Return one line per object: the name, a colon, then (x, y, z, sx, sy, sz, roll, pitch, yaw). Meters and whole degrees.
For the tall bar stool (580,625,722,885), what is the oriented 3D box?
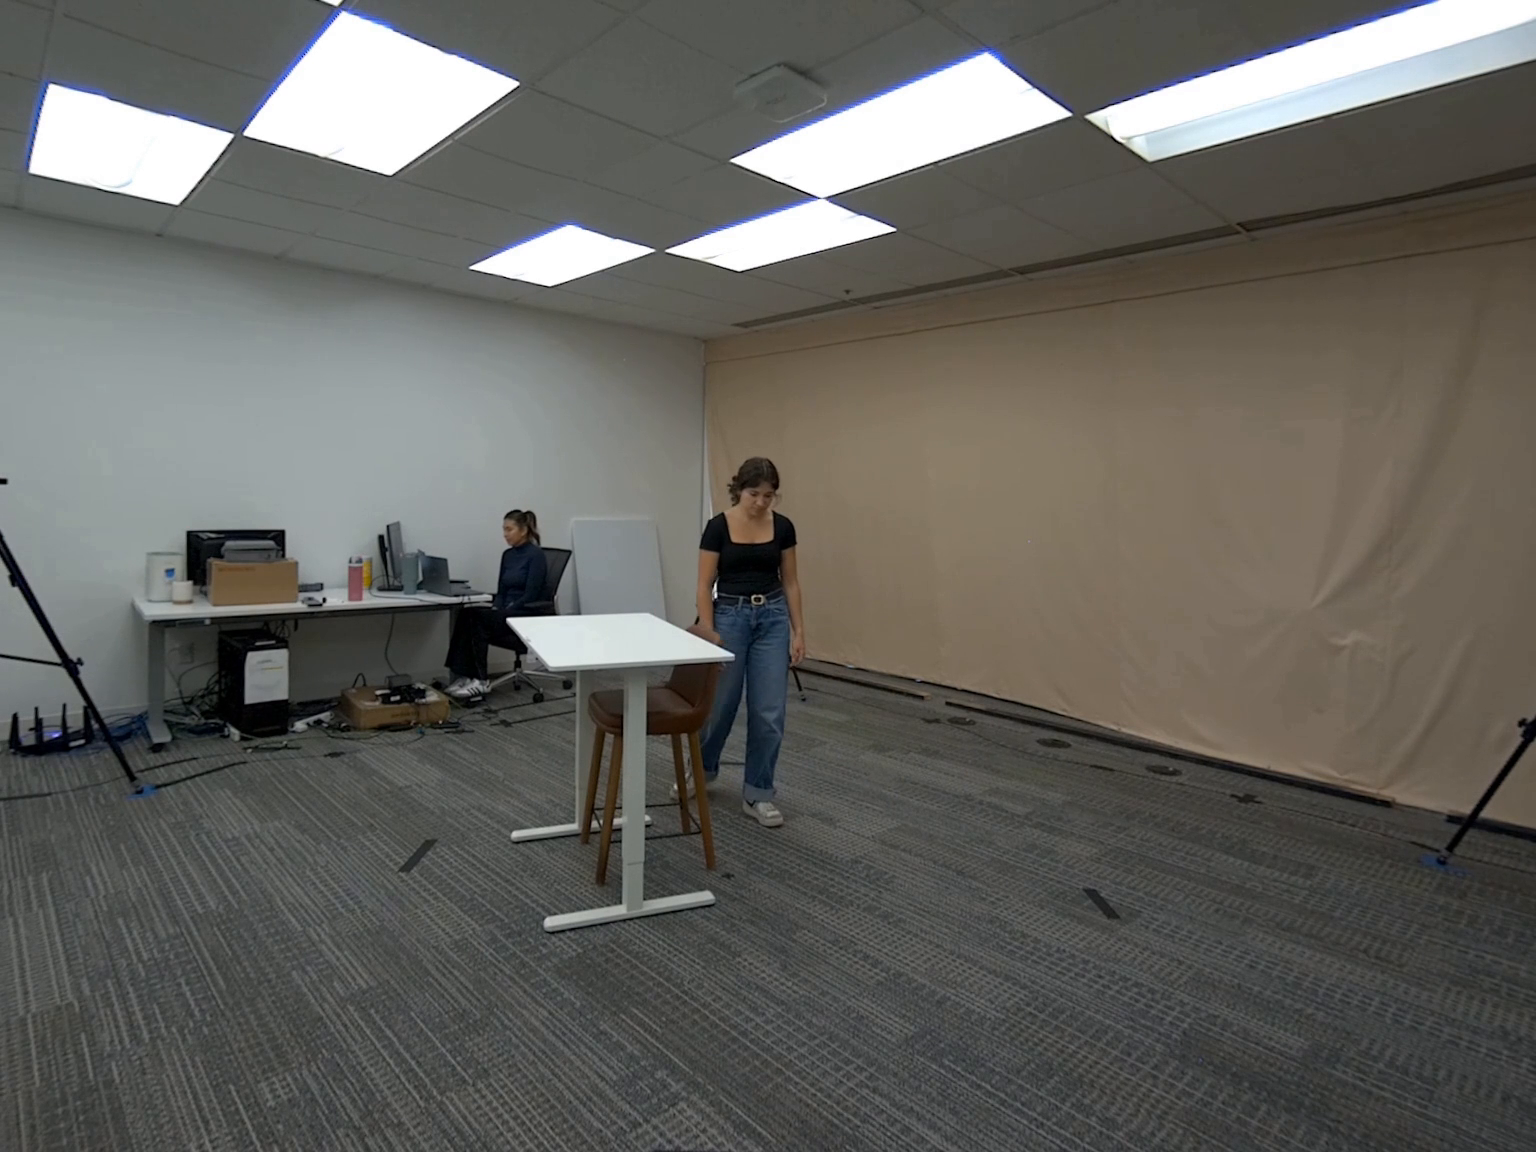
tall bar stool: (-0.460, 0.660, 3.239, 0.460, 0.888, 0.464, 2, 3, -20)
